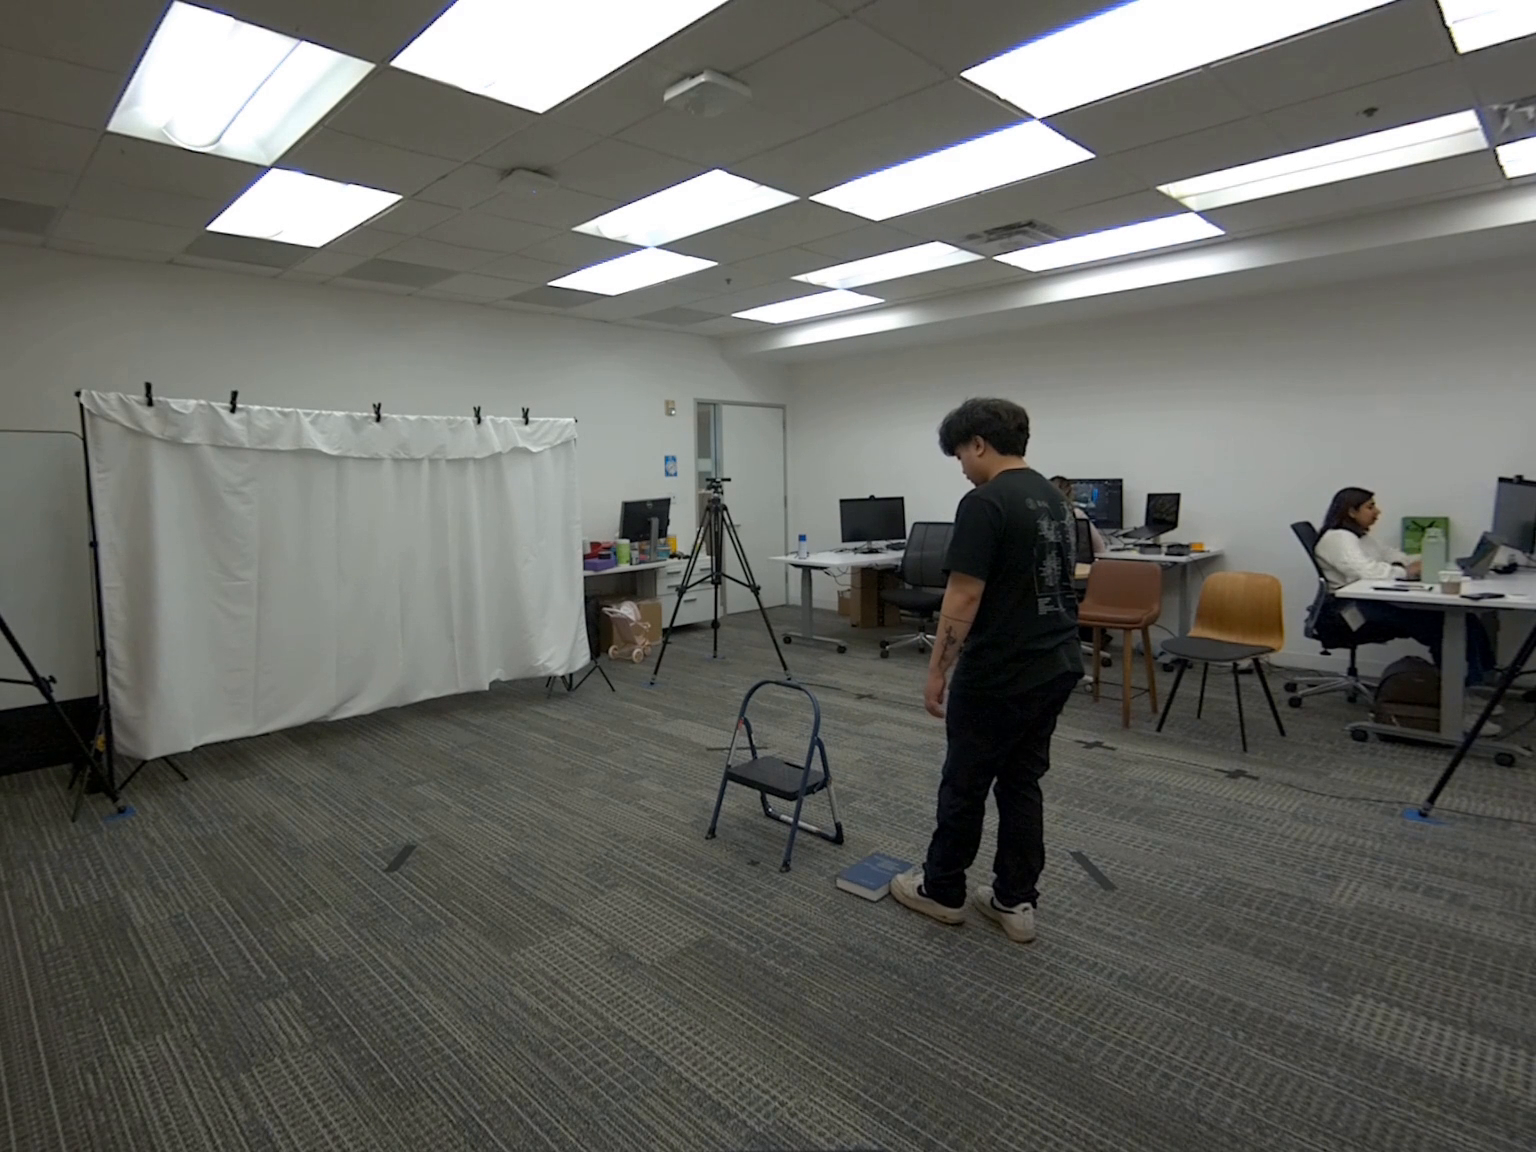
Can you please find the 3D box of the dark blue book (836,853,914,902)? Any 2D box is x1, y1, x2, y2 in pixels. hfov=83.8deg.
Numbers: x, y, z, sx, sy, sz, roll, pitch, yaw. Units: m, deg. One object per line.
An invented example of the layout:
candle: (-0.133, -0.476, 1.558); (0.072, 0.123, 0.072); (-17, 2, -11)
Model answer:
dark blue book: (0.373, 1.031, 2.934); (0.168, 0.045, 0.239); (4, 8, 43)
